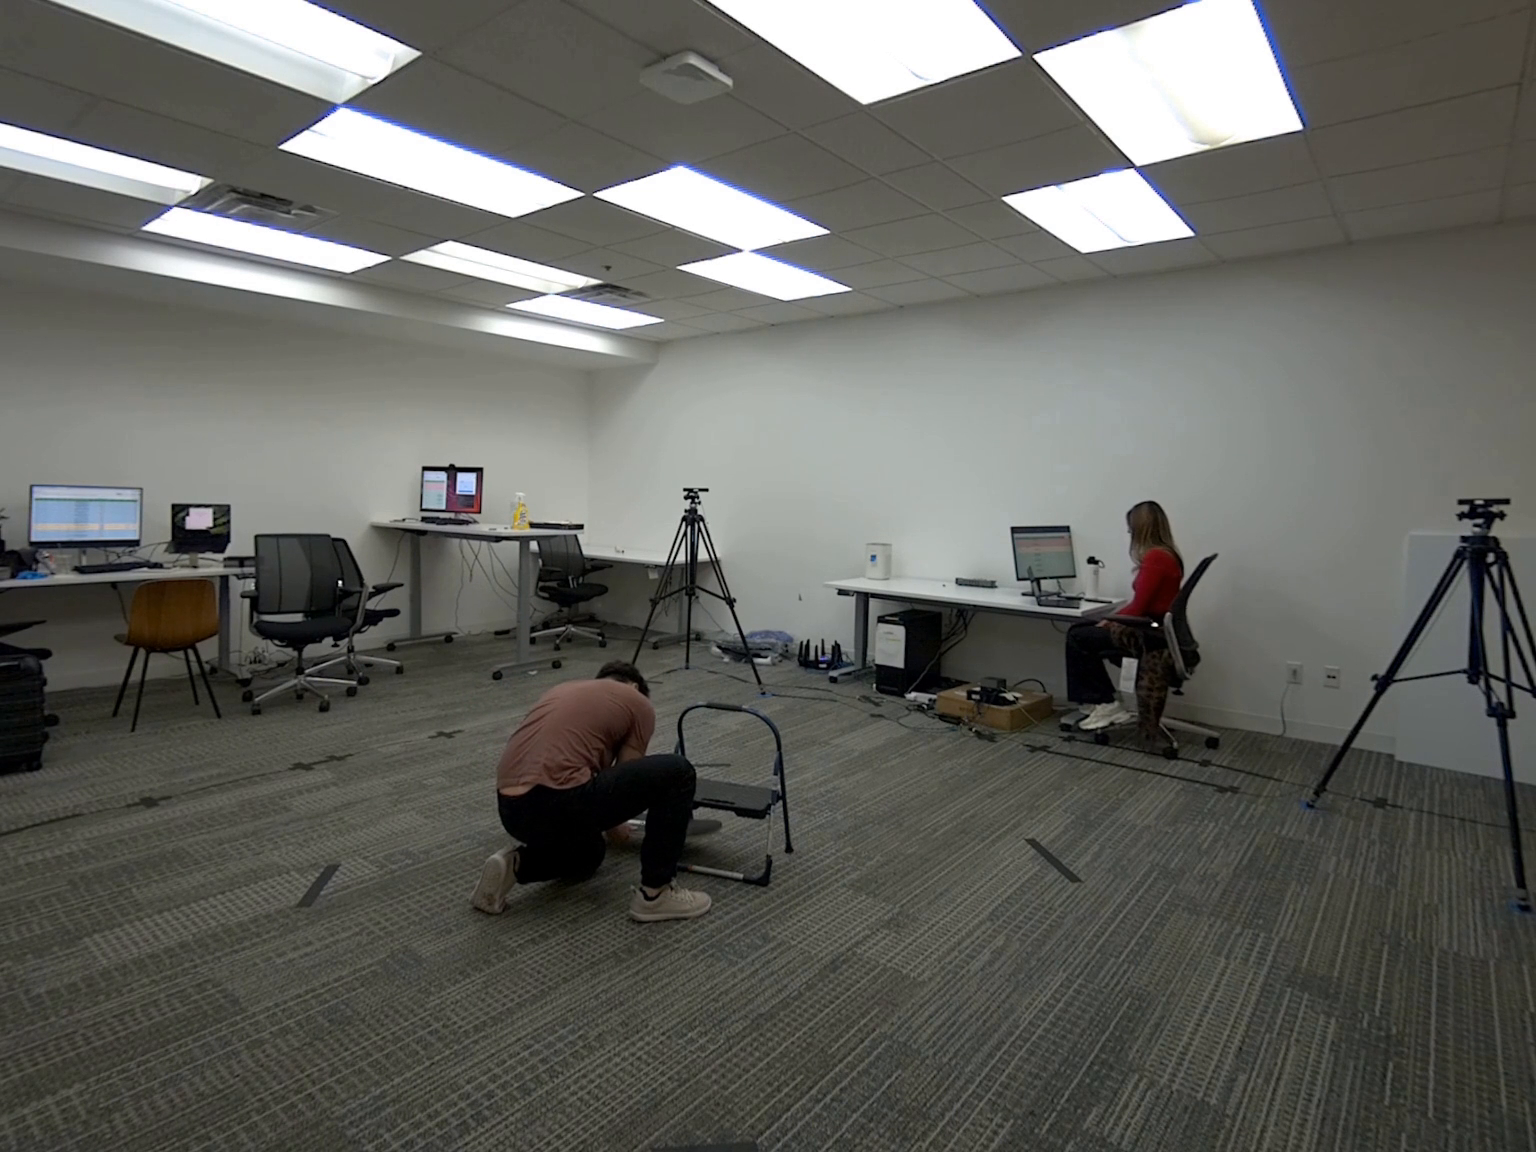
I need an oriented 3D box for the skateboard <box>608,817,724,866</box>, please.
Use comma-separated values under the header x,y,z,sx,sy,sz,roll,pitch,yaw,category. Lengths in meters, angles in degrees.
x,y,z,sx,sy,sz,roll,pitch,yaw,category
-0.566,0.972,3.323,0.796,0.110,0.191,2,5,13,skateboard
